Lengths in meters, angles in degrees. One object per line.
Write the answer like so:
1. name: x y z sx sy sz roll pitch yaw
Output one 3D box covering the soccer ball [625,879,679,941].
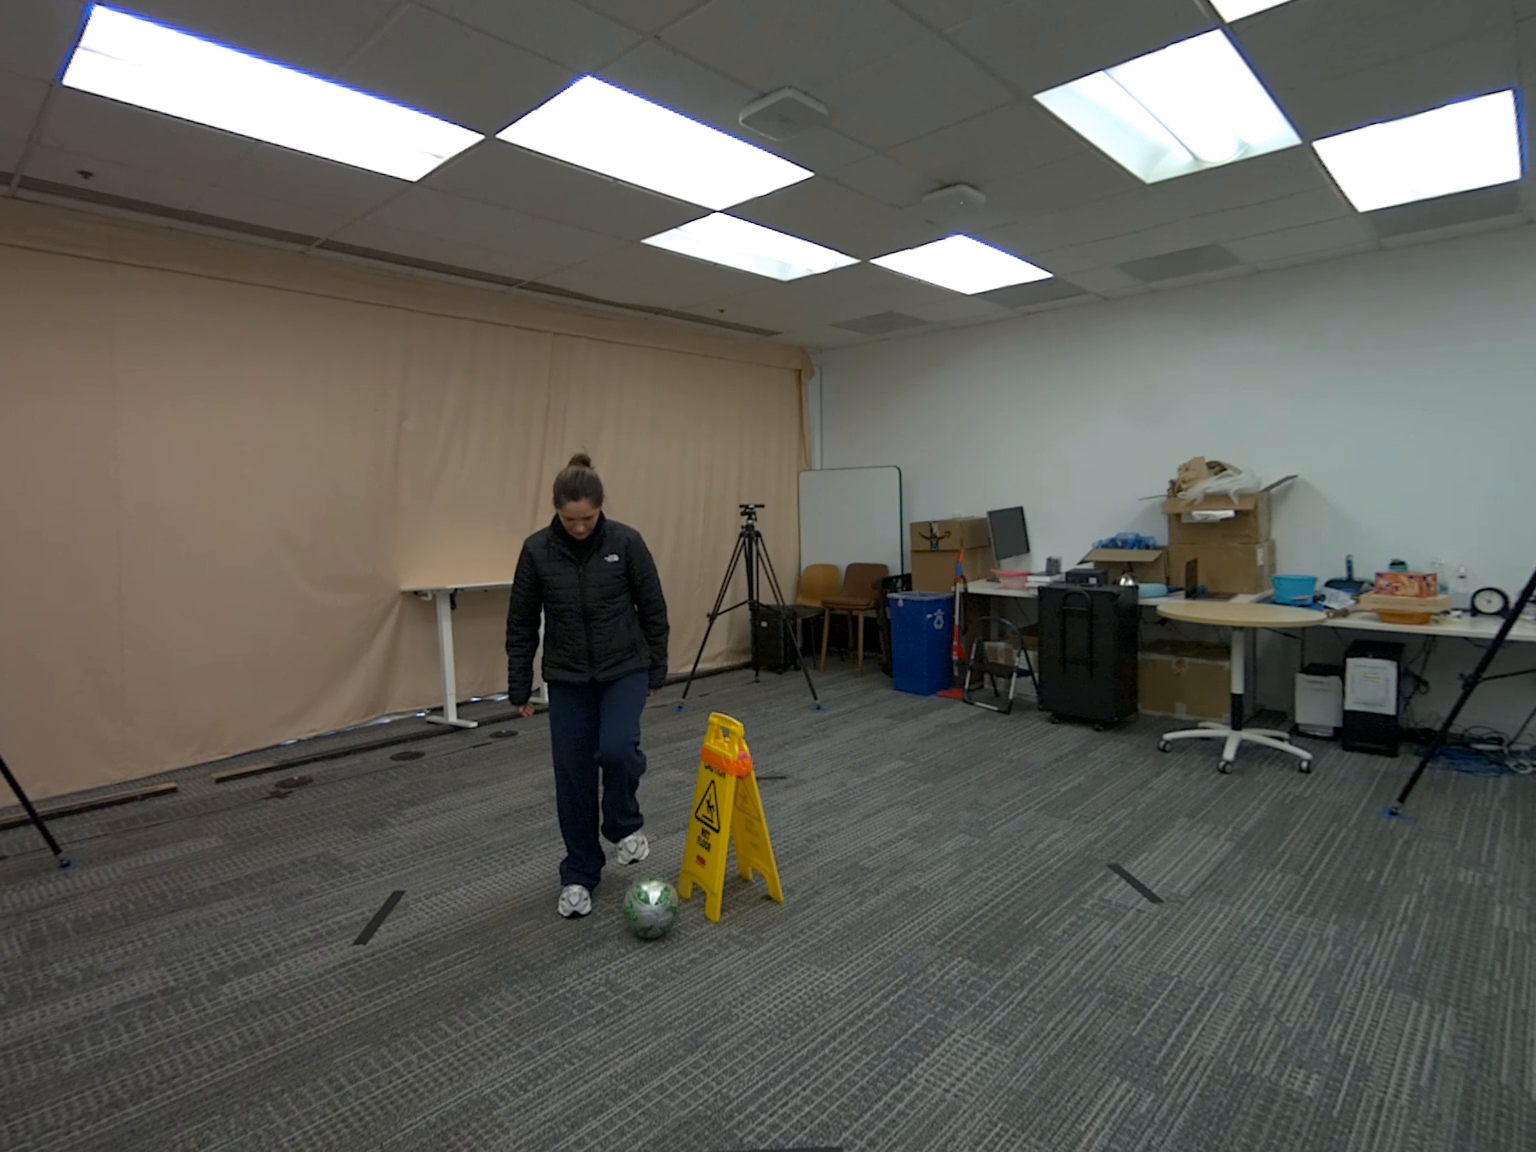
1. soccer ball: -0.380 1.075 2.734 0.187 0.187 0.188 -1 4 -2
